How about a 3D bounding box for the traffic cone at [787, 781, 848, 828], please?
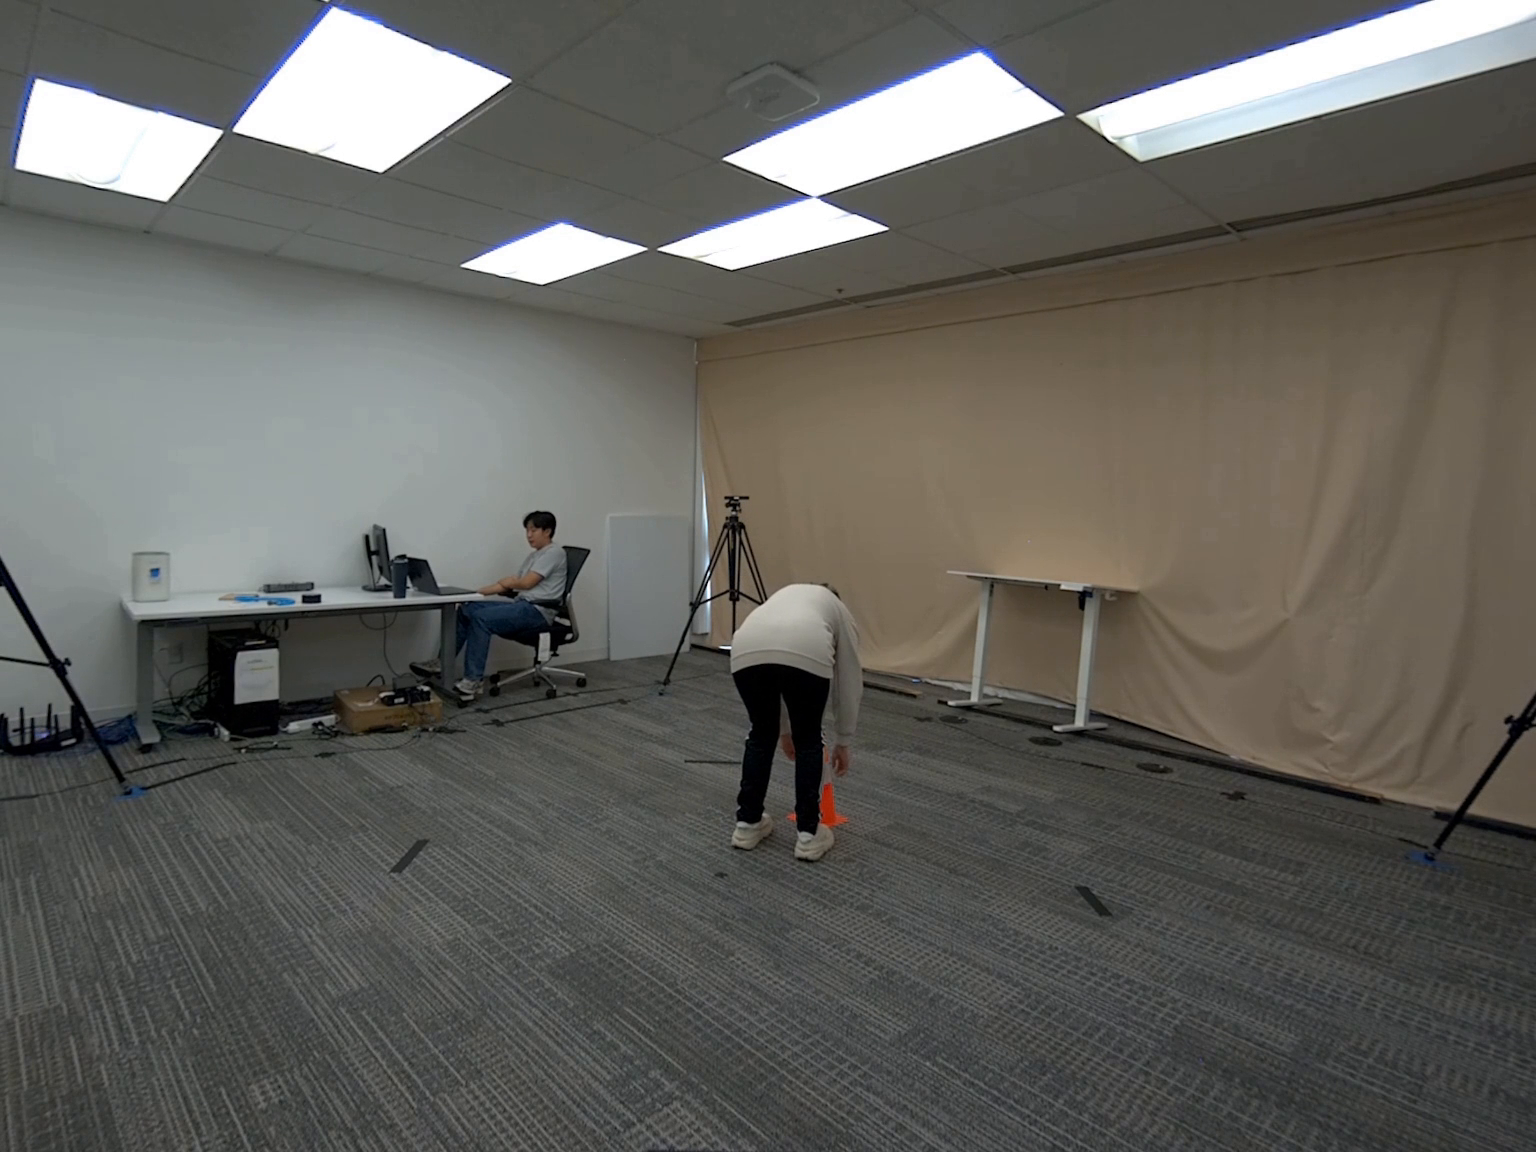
[{"bbox_3d":[0.216,0.878,3.679,0.199,0.382,0.210,-3,6,-44],"label":"traffic cone"}]
